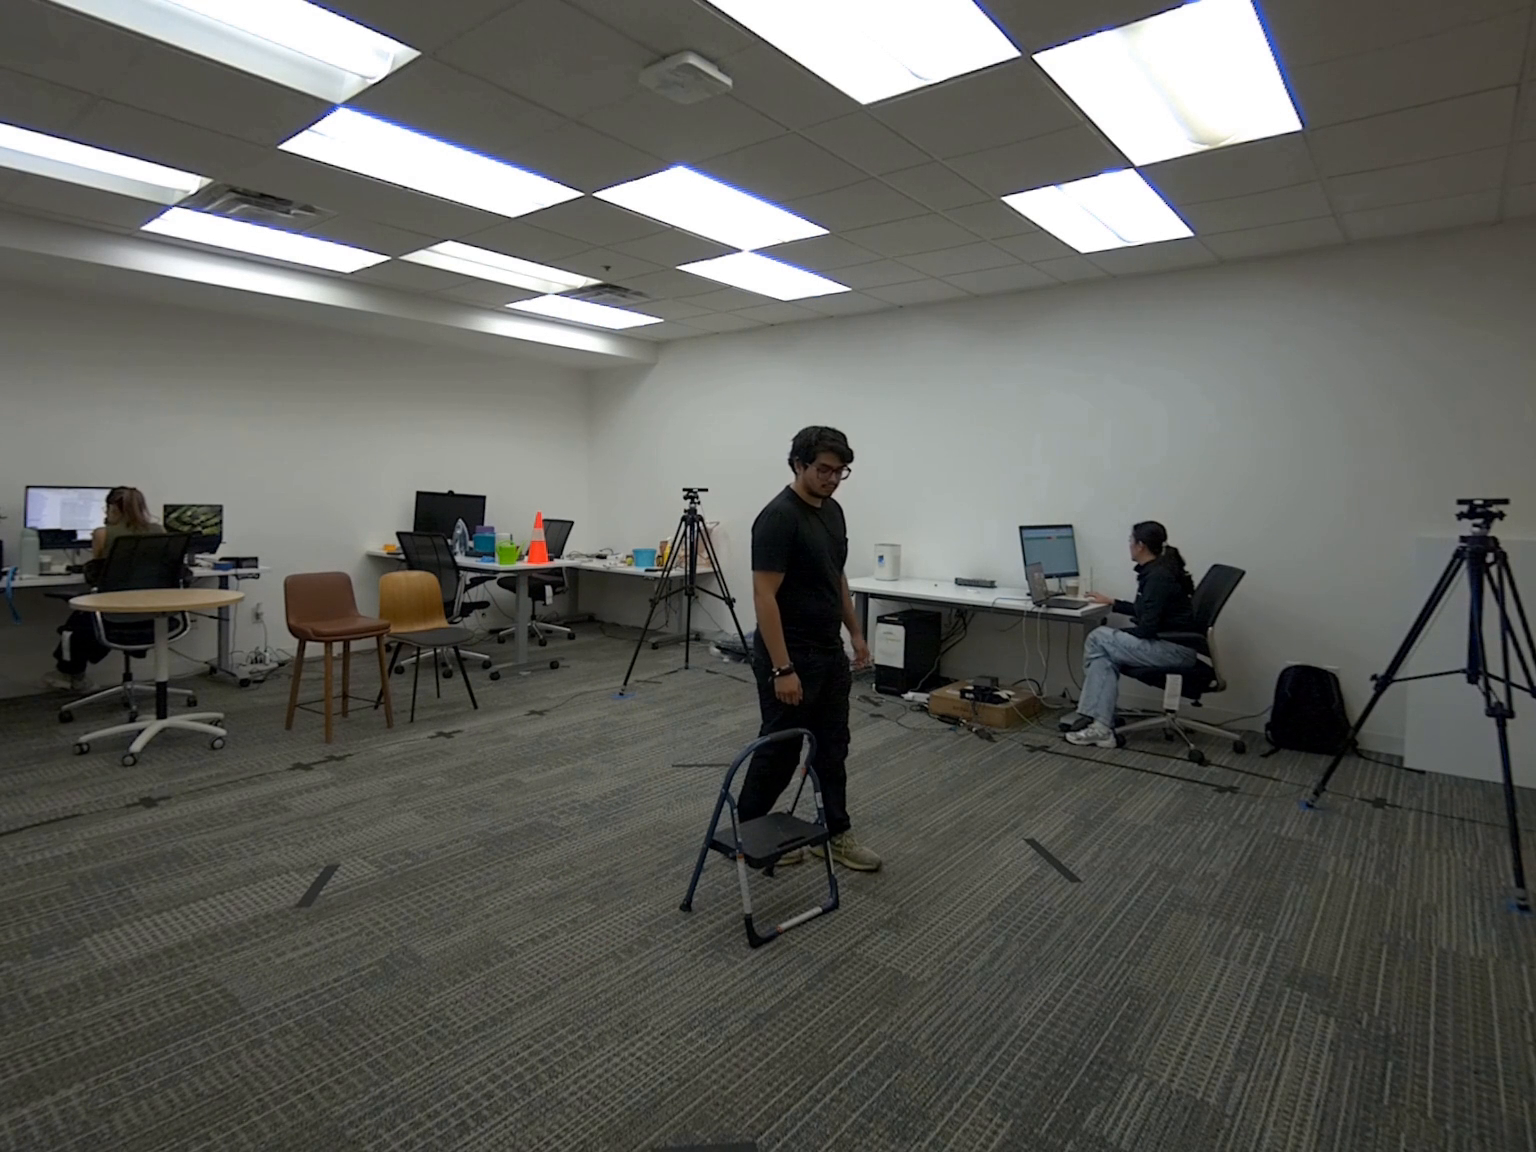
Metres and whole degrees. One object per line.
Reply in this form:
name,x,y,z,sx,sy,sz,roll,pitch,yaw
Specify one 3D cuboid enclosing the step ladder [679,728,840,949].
step ladder,-0.026,0.797,2.817,0.417,0.604,0.361,-2,5,-45
